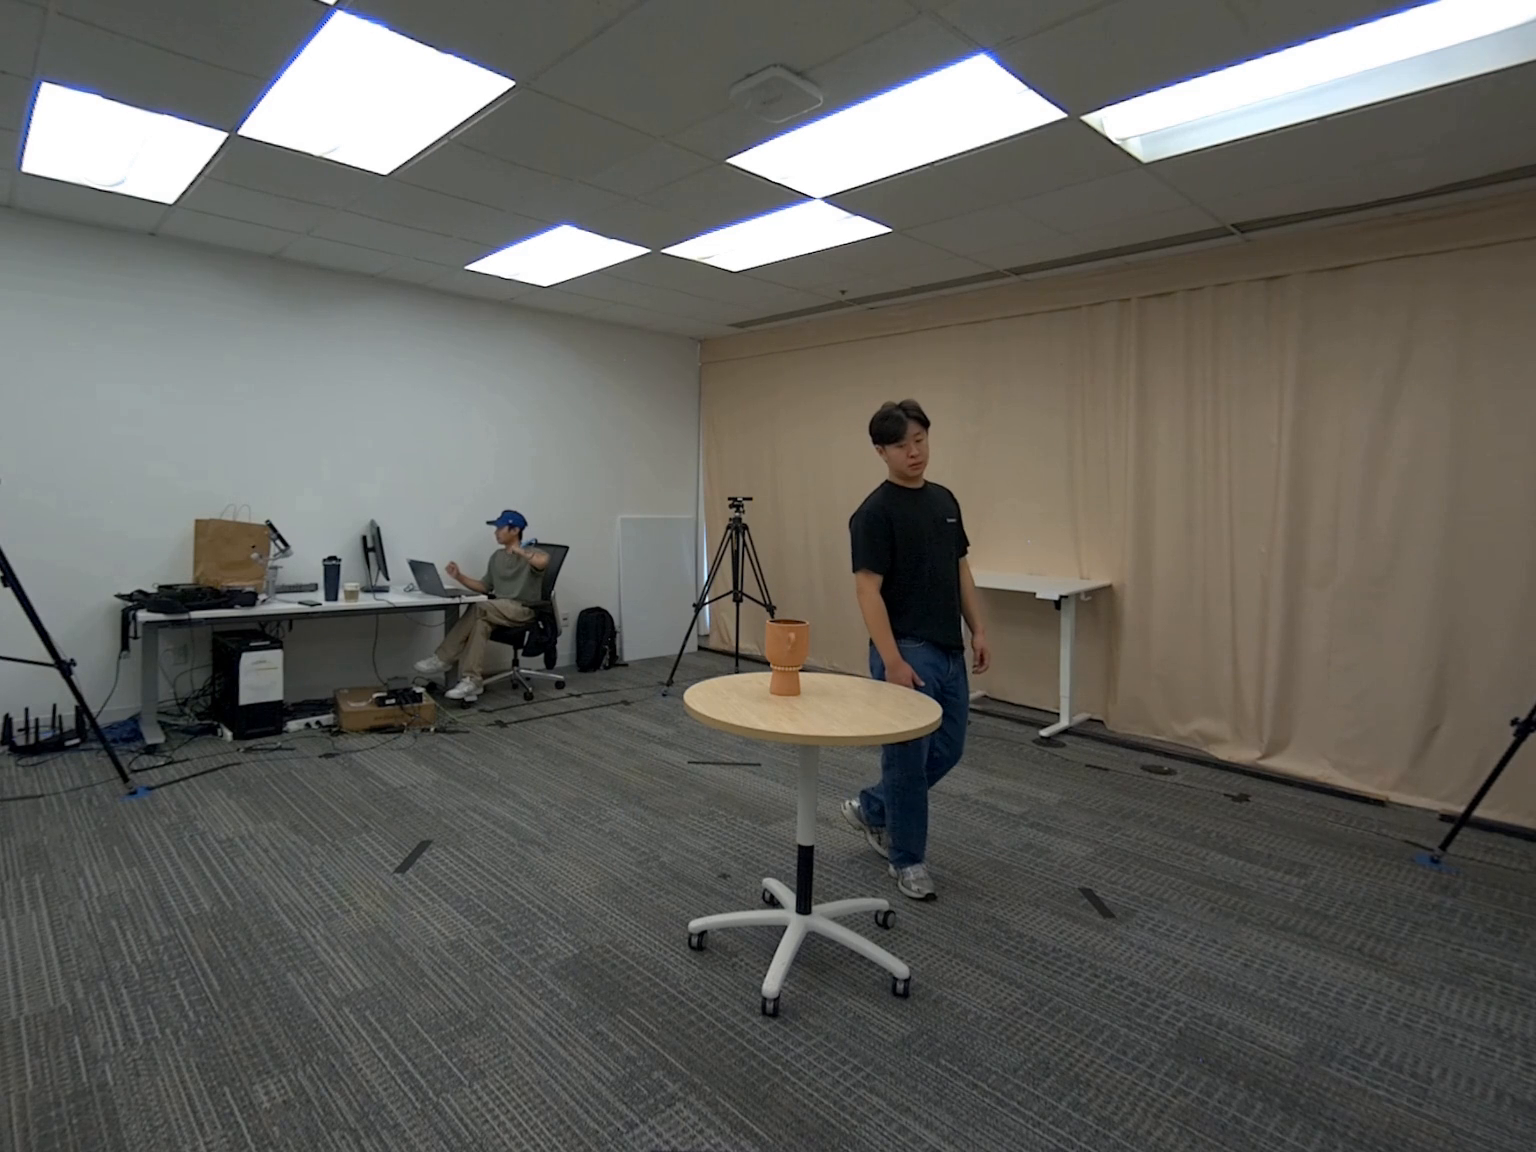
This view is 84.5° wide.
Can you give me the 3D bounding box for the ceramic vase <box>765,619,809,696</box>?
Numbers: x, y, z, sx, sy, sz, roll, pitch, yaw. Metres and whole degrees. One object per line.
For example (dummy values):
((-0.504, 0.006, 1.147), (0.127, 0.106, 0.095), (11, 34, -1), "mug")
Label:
((0.052, 0.253, 2.586), (0.138, 0.219, 0.155), (5, 4, 31), "ceramic vase")
